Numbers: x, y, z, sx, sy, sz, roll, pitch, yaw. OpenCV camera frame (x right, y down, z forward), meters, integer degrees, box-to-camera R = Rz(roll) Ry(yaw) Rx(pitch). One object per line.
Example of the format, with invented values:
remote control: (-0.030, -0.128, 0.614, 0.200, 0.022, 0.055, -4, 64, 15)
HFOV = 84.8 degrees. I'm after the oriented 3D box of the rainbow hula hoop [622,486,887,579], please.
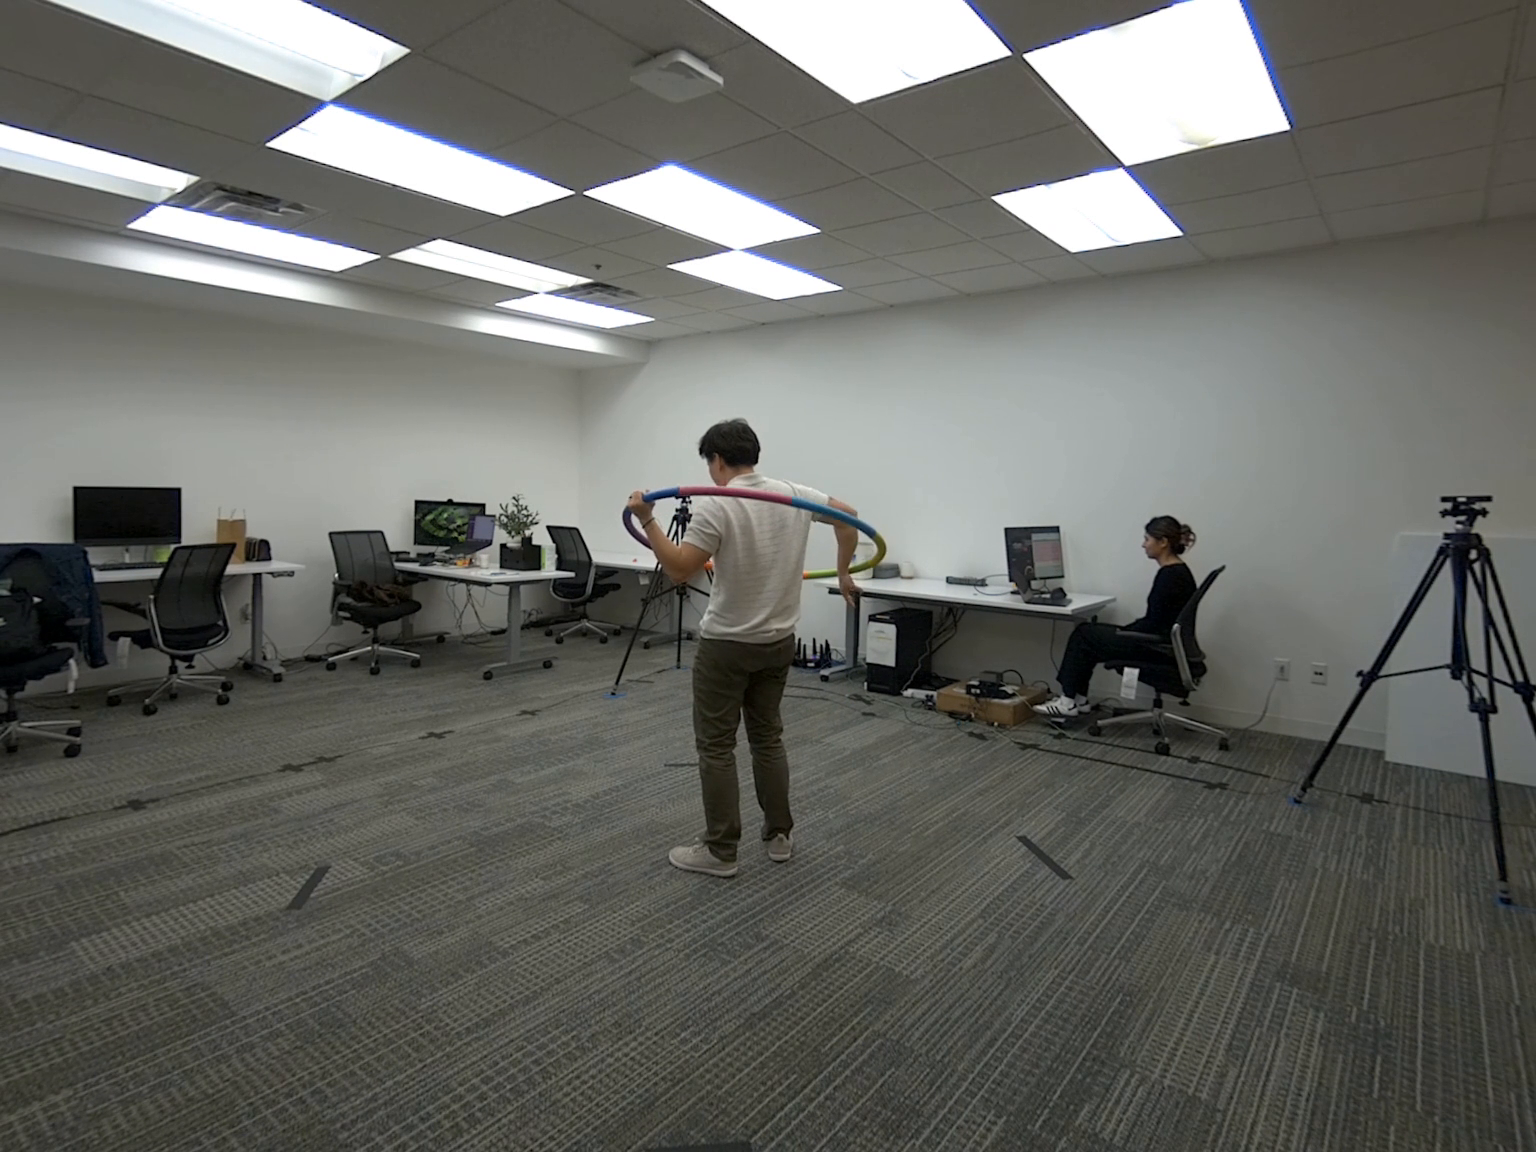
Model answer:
rainbow hula hoop: (-0.079, -0.137, 3.174, 0.982, 0.036, 0.964, 10, -16, 1)
